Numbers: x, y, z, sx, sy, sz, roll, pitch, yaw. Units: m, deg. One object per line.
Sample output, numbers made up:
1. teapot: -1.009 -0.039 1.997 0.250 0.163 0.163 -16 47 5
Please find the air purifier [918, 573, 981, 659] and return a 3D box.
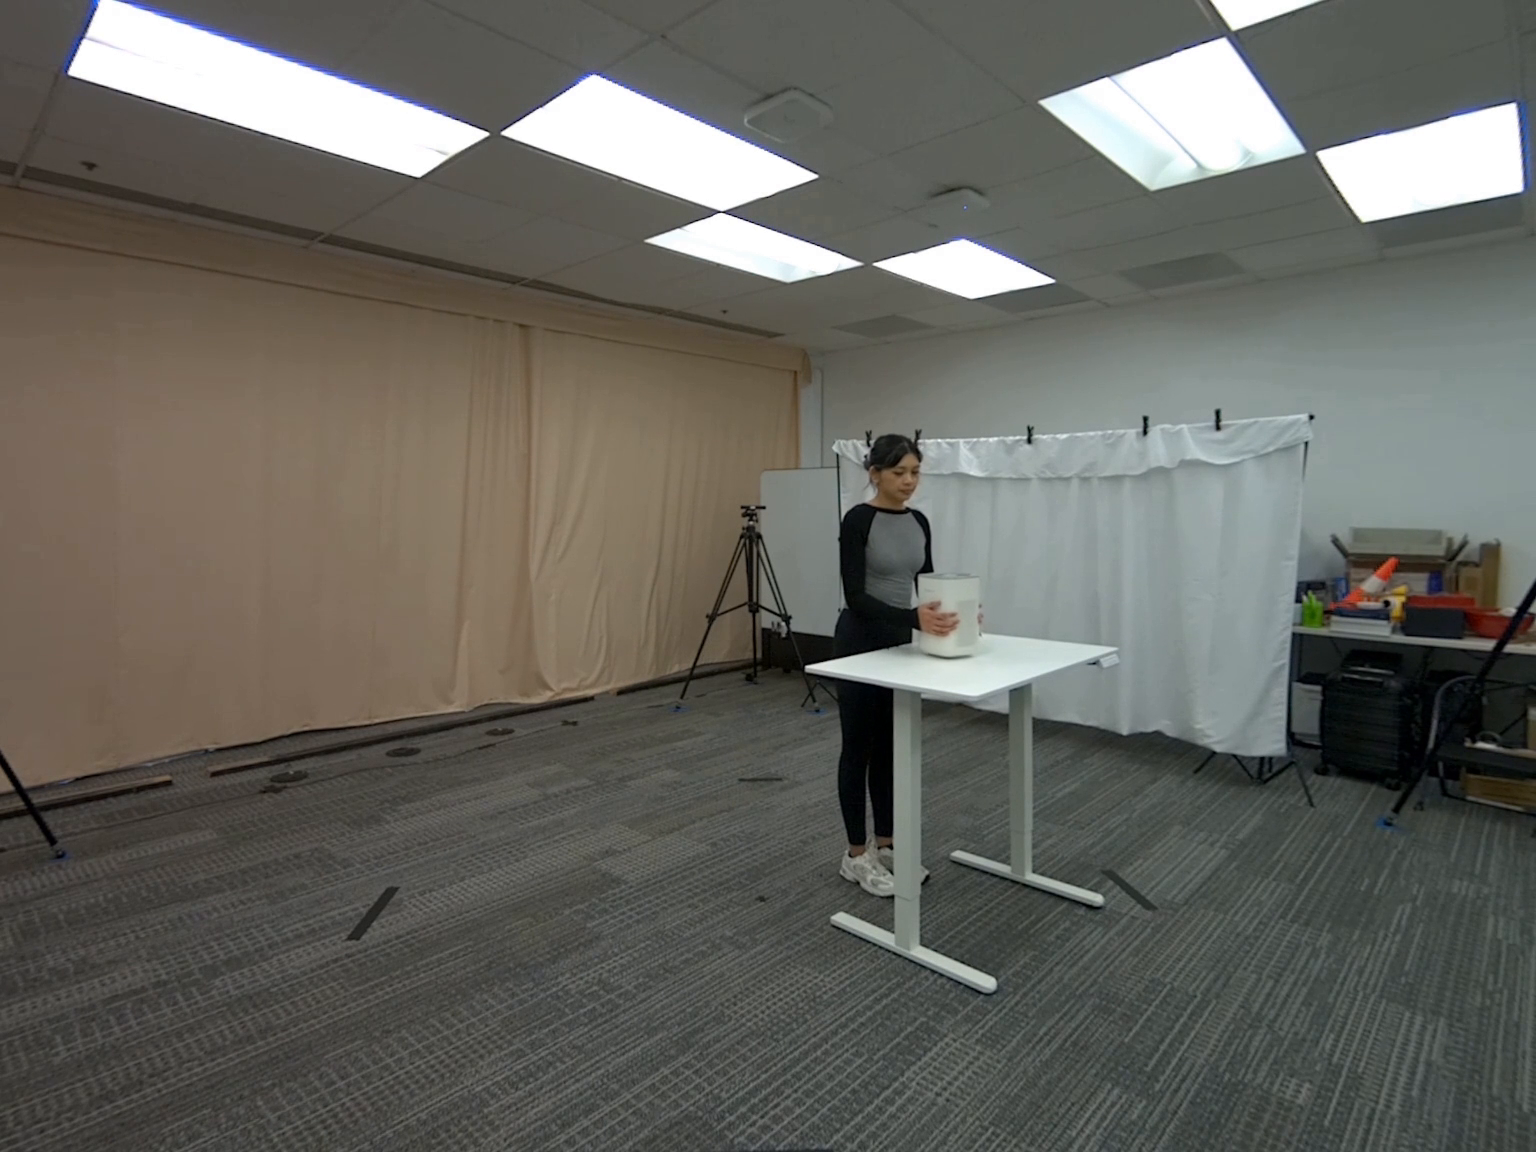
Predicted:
1. air purifier: 0.606 0.129 2.841 0.167 0.264 0.176 -6 5 -32
